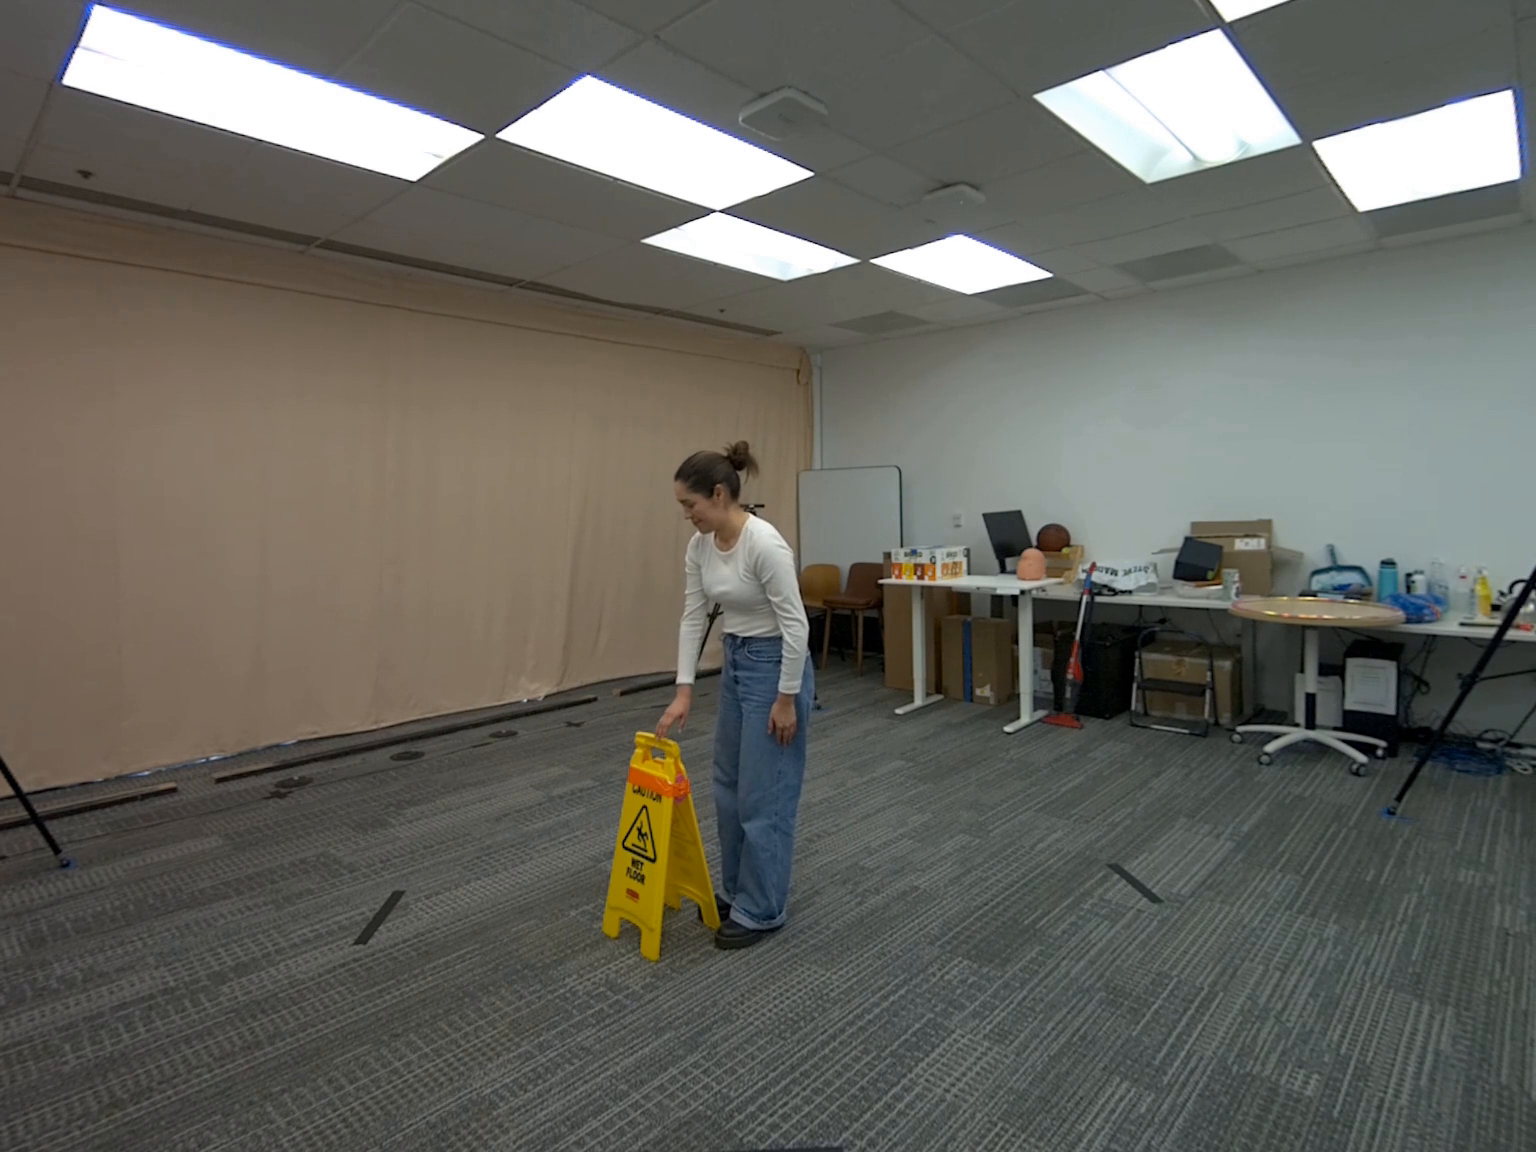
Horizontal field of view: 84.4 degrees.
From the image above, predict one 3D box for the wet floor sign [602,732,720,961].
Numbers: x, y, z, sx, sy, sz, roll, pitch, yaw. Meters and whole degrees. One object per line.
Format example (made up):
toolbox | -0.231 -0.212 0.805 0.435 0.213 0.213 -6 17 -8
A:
wet floor sign | -0.352 0.846 2.756 0.281 0.645 0.291 -3 4 -45
